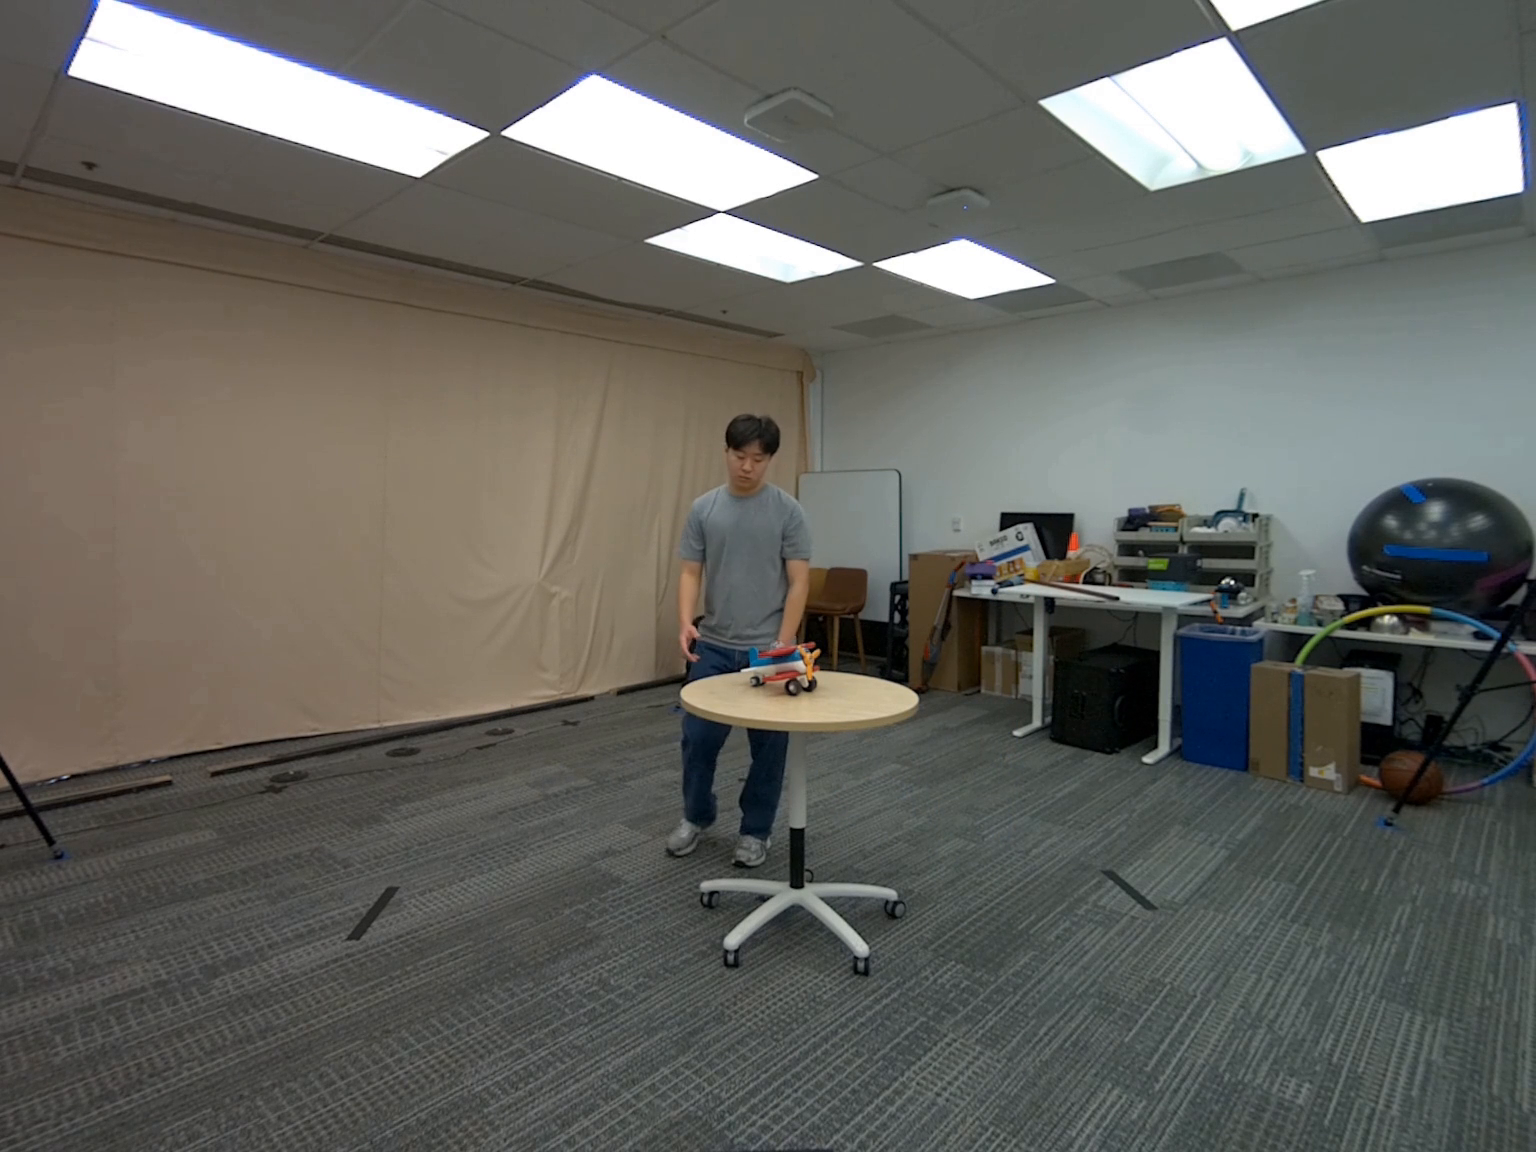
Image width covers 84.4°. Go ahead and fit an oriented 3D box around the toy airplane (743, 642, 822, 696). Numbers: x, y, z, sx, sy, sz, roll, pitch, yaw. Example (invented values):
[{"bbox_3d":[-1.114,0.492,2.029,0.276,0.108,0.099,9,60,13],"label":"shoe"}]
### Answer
[{"bbox_3d":[0.034,0.300,2.768,0.263,0.156,0.248,2,3,11],"label":"toy airplane"}]
